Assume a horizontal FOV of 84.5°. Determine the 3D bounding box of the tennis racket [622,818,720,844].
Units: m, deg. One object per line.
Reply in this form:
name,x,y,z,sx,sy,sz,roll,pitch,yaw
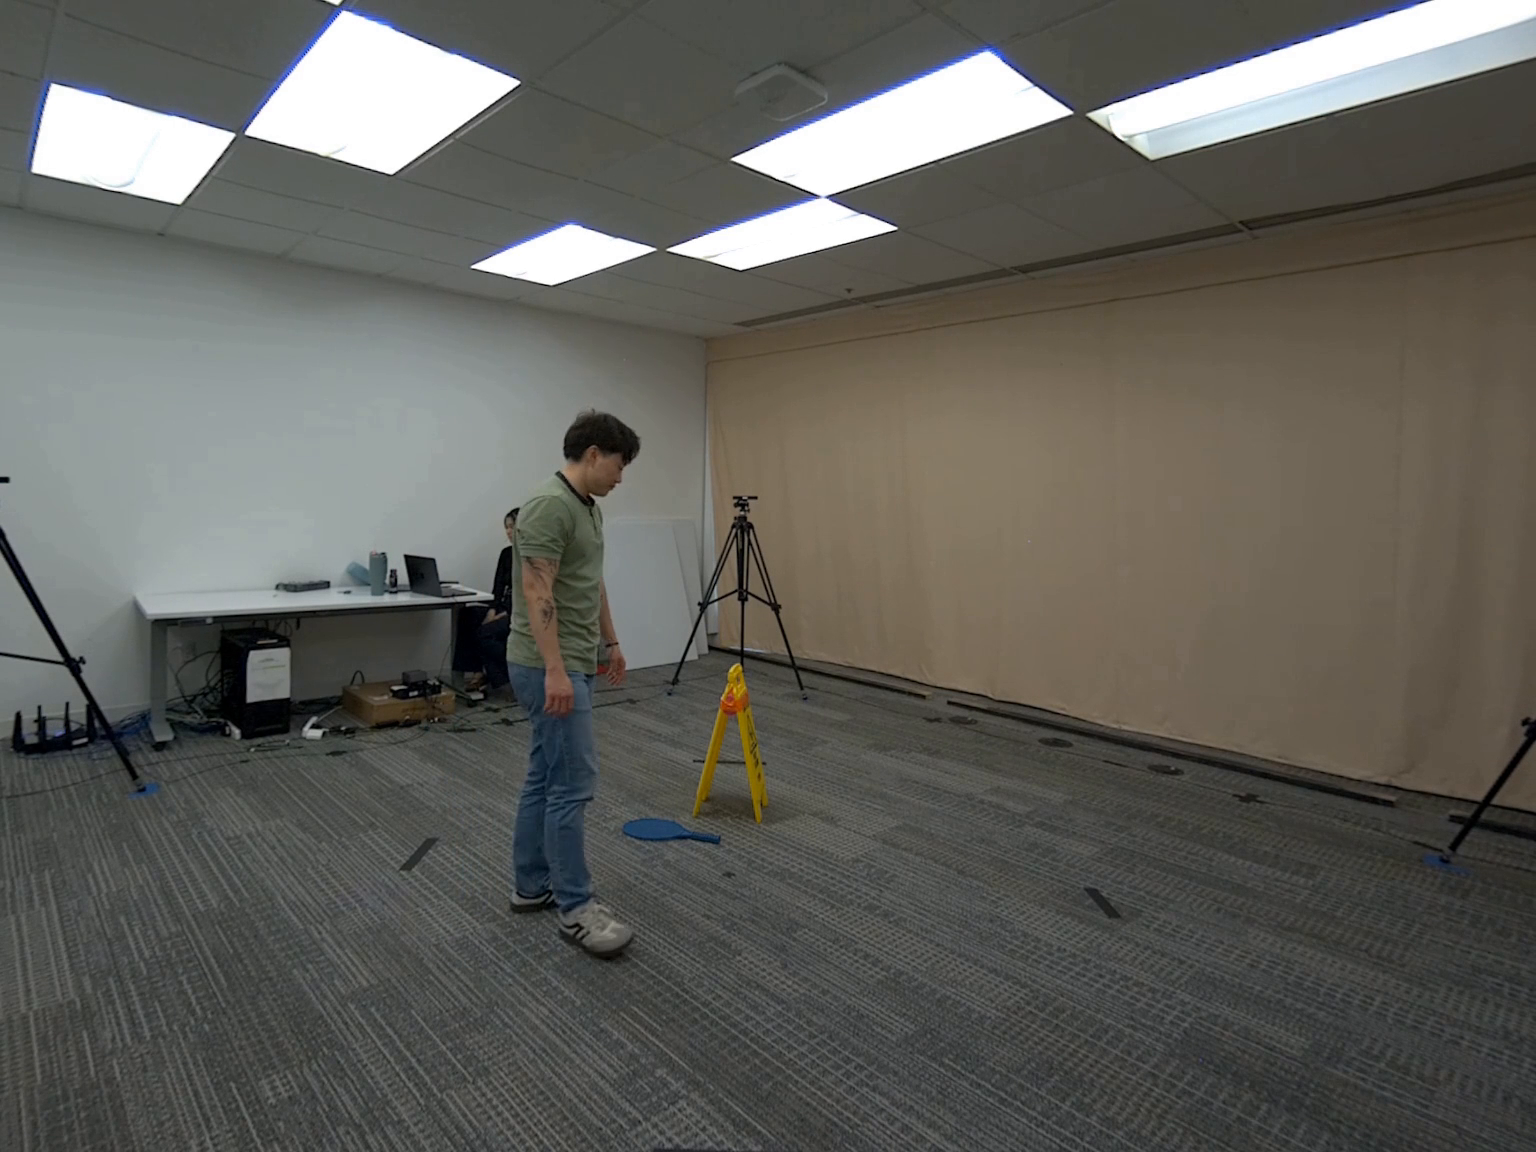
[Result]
tennis racket,-0.403,1.052,3.465,0.440,0.031,0.211,2,5,21
